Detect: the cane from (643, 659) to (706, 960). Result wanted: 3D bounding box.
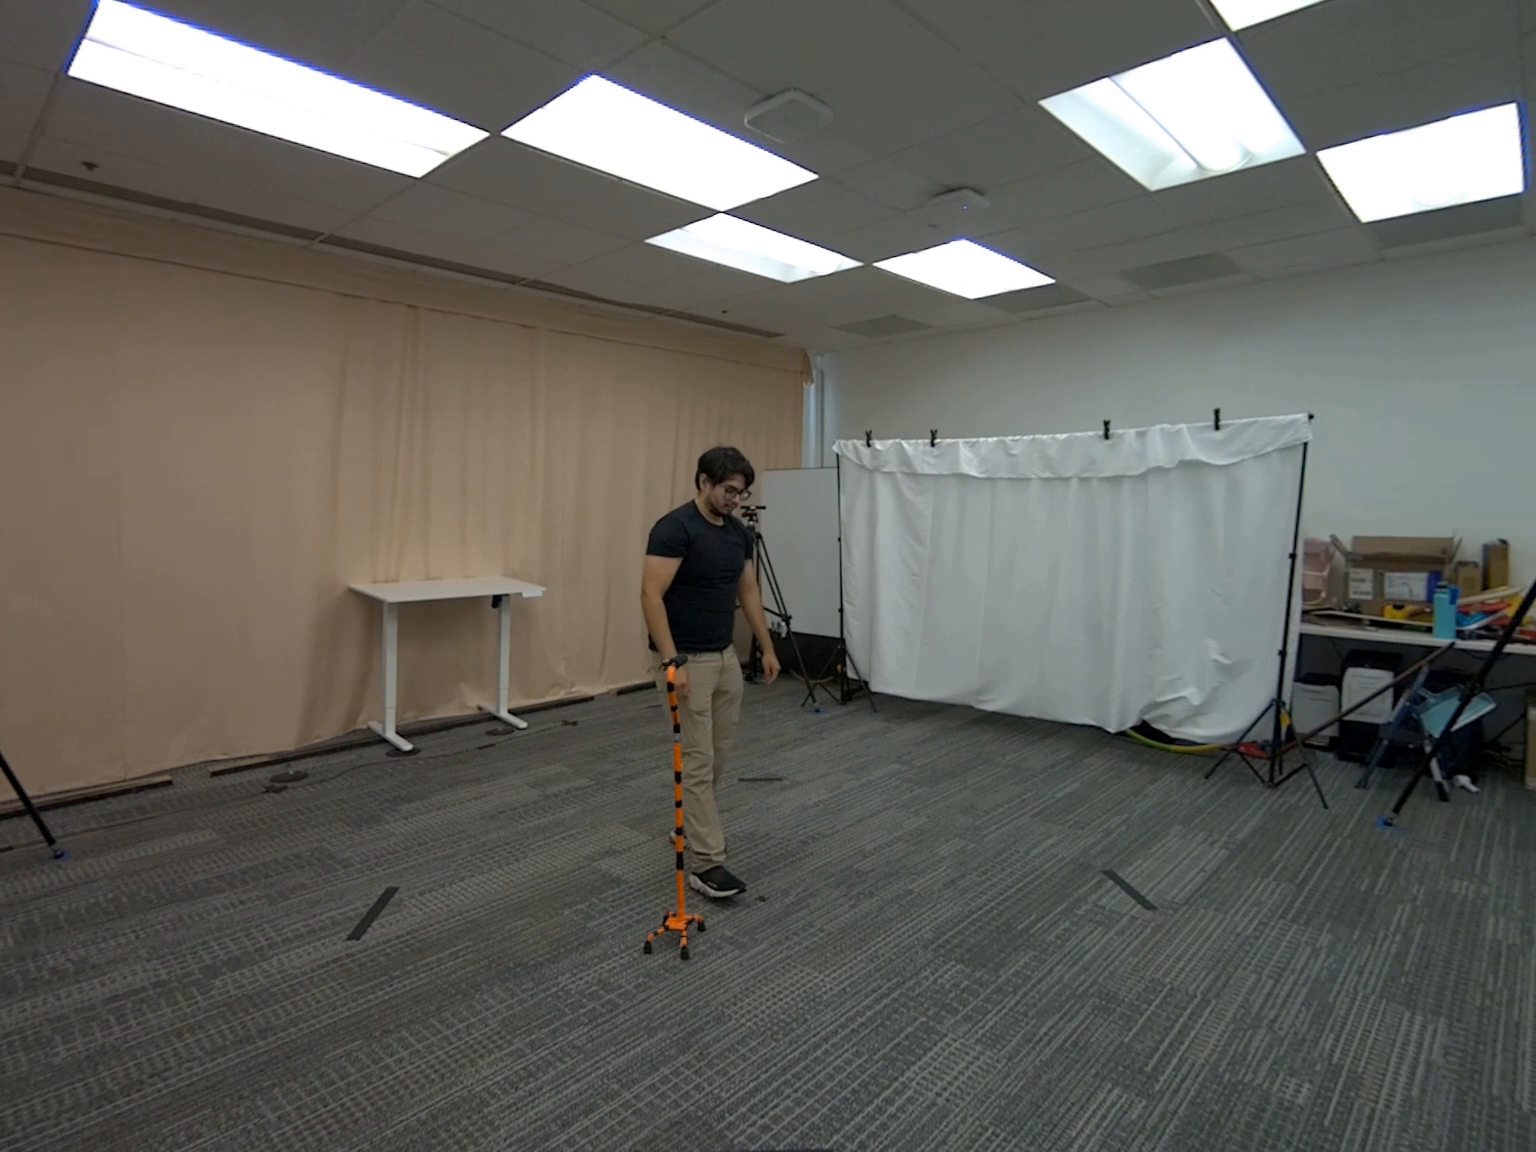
[{"bbox_3d":[-0.300,0.713,2.670,0.154,0.906,0.204,1,3,12],"label":"cane"}]
